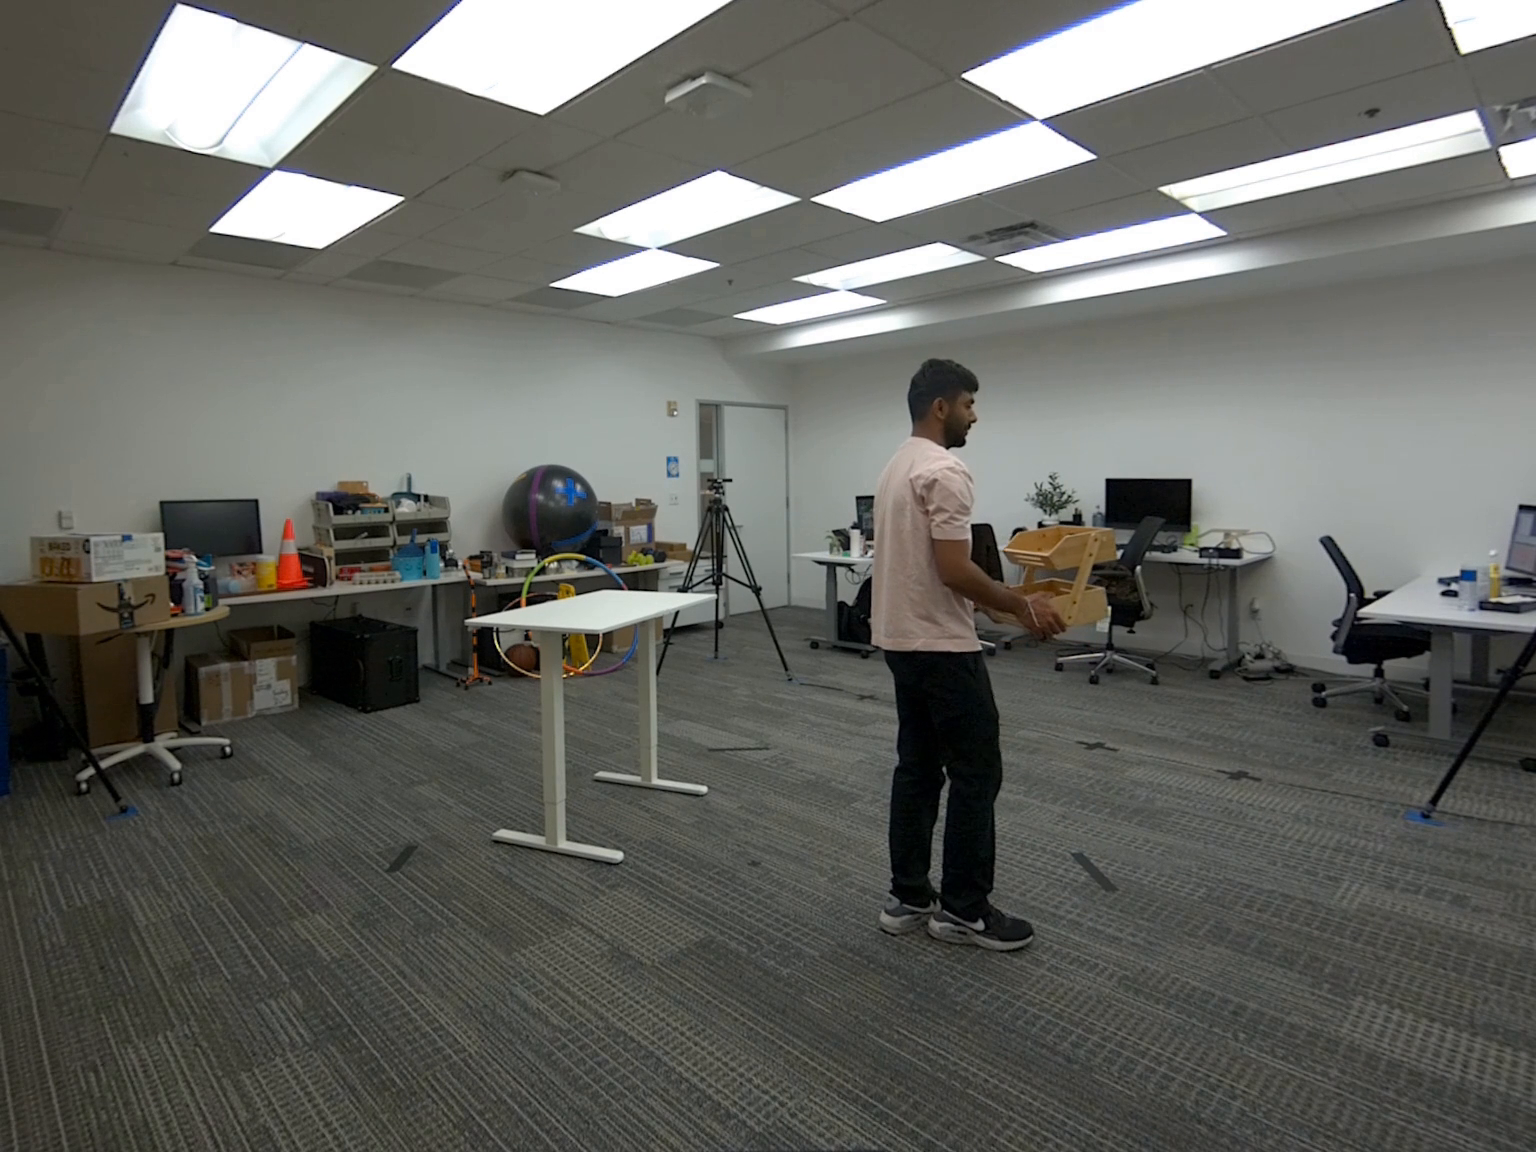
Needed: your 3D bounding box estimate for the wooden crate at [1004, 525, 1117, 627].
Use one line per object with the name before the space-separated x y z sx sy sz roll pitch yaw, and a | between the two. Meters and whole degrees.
wooden crate | 0.852 0.001 2.625 0.300 0.272 0.328 -10 6 -8
